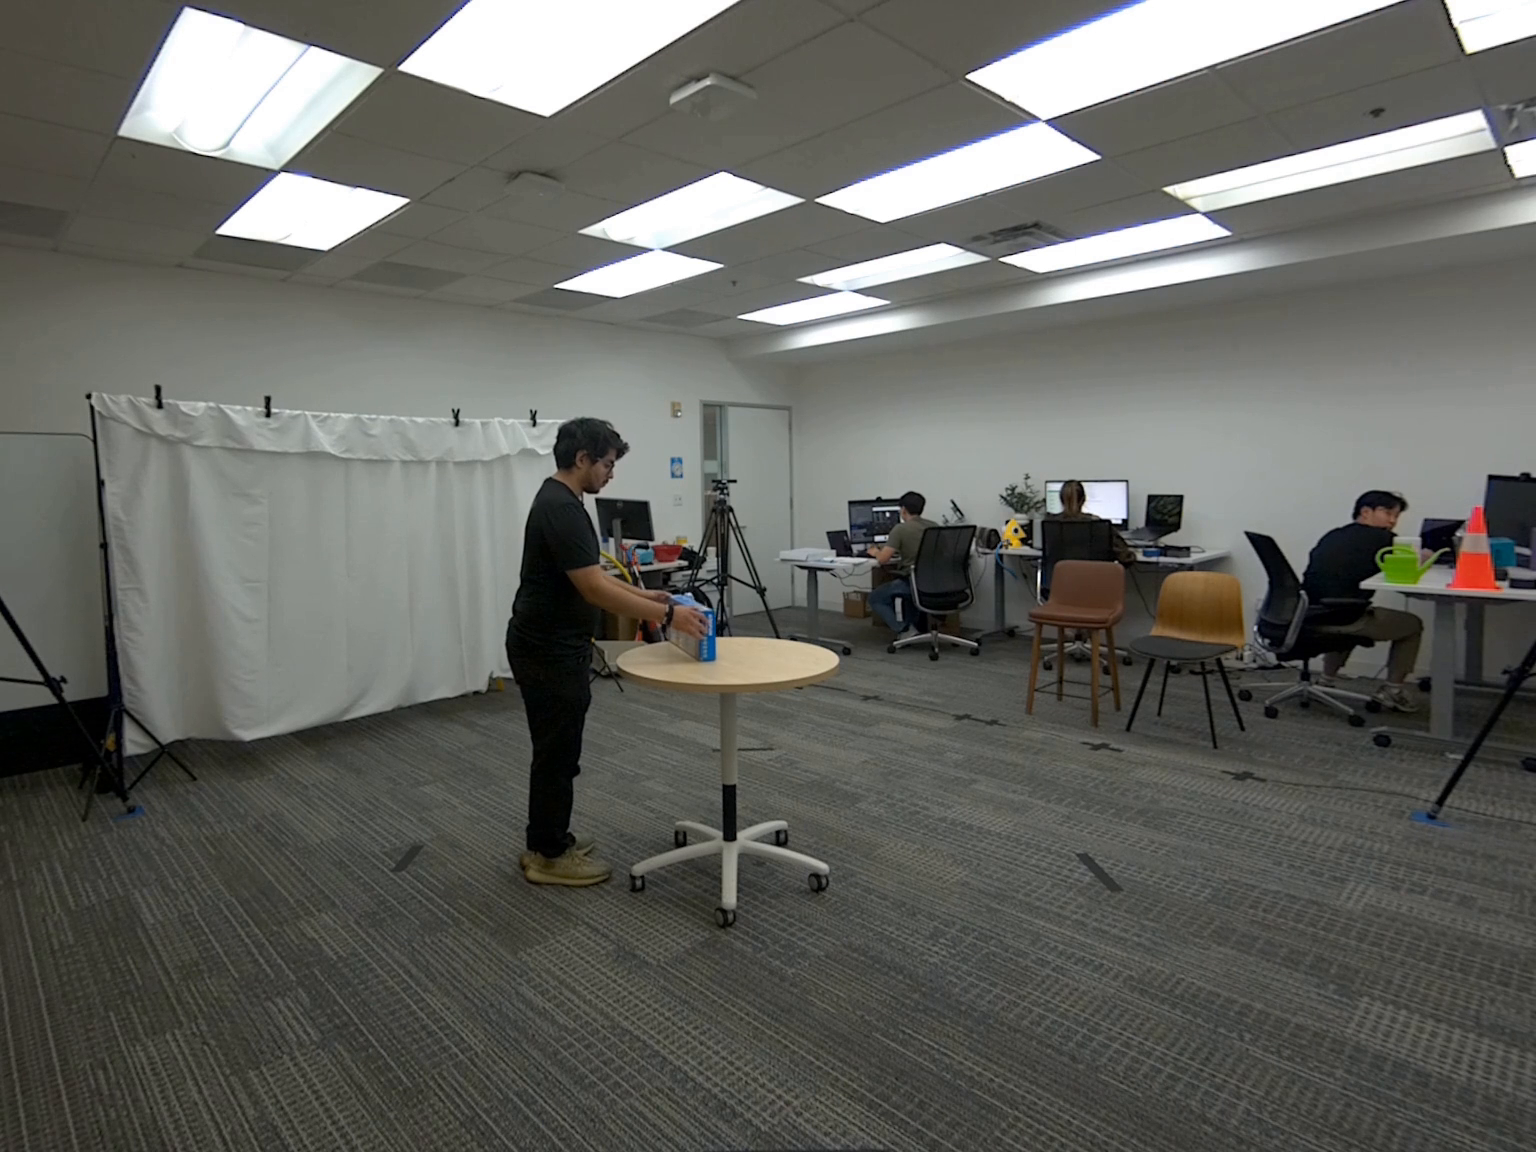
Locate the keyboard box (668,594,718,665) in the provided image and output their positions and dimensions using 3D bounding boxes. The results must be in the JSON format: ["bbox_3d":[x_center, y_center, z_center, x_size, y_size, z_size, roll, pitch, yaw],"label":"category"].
[{"bbox_3d":[-0.279,0.183,3.092,0.058,0.175,0.446,-3,7,-20],"label":"keyboard box"}]
